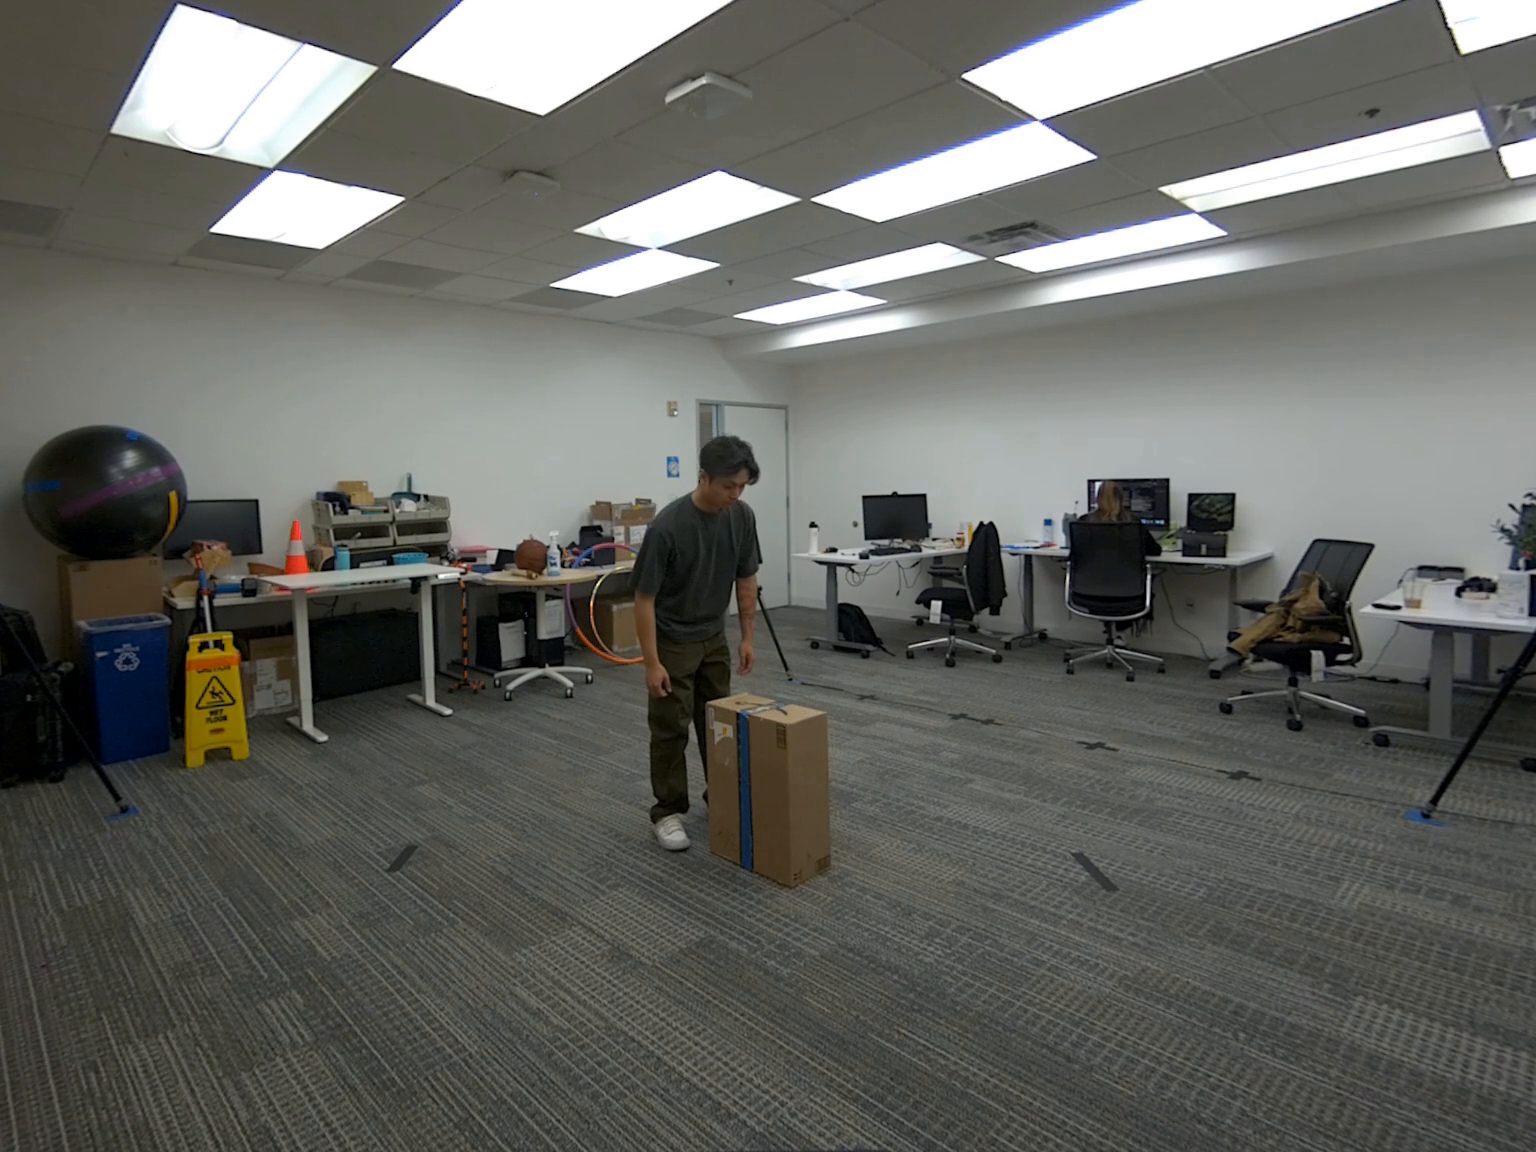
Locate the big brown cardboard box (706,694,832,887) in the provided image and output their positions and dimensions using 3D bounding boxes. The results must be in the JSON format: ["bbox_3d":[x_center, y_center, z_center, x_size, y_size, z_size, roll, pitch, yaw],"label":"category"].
[{"bbox_3d":[-0.004,0.755,3.114,0.227,0.587,0.430,-5,5,-44],"label":"big brown cardboard box"}]
